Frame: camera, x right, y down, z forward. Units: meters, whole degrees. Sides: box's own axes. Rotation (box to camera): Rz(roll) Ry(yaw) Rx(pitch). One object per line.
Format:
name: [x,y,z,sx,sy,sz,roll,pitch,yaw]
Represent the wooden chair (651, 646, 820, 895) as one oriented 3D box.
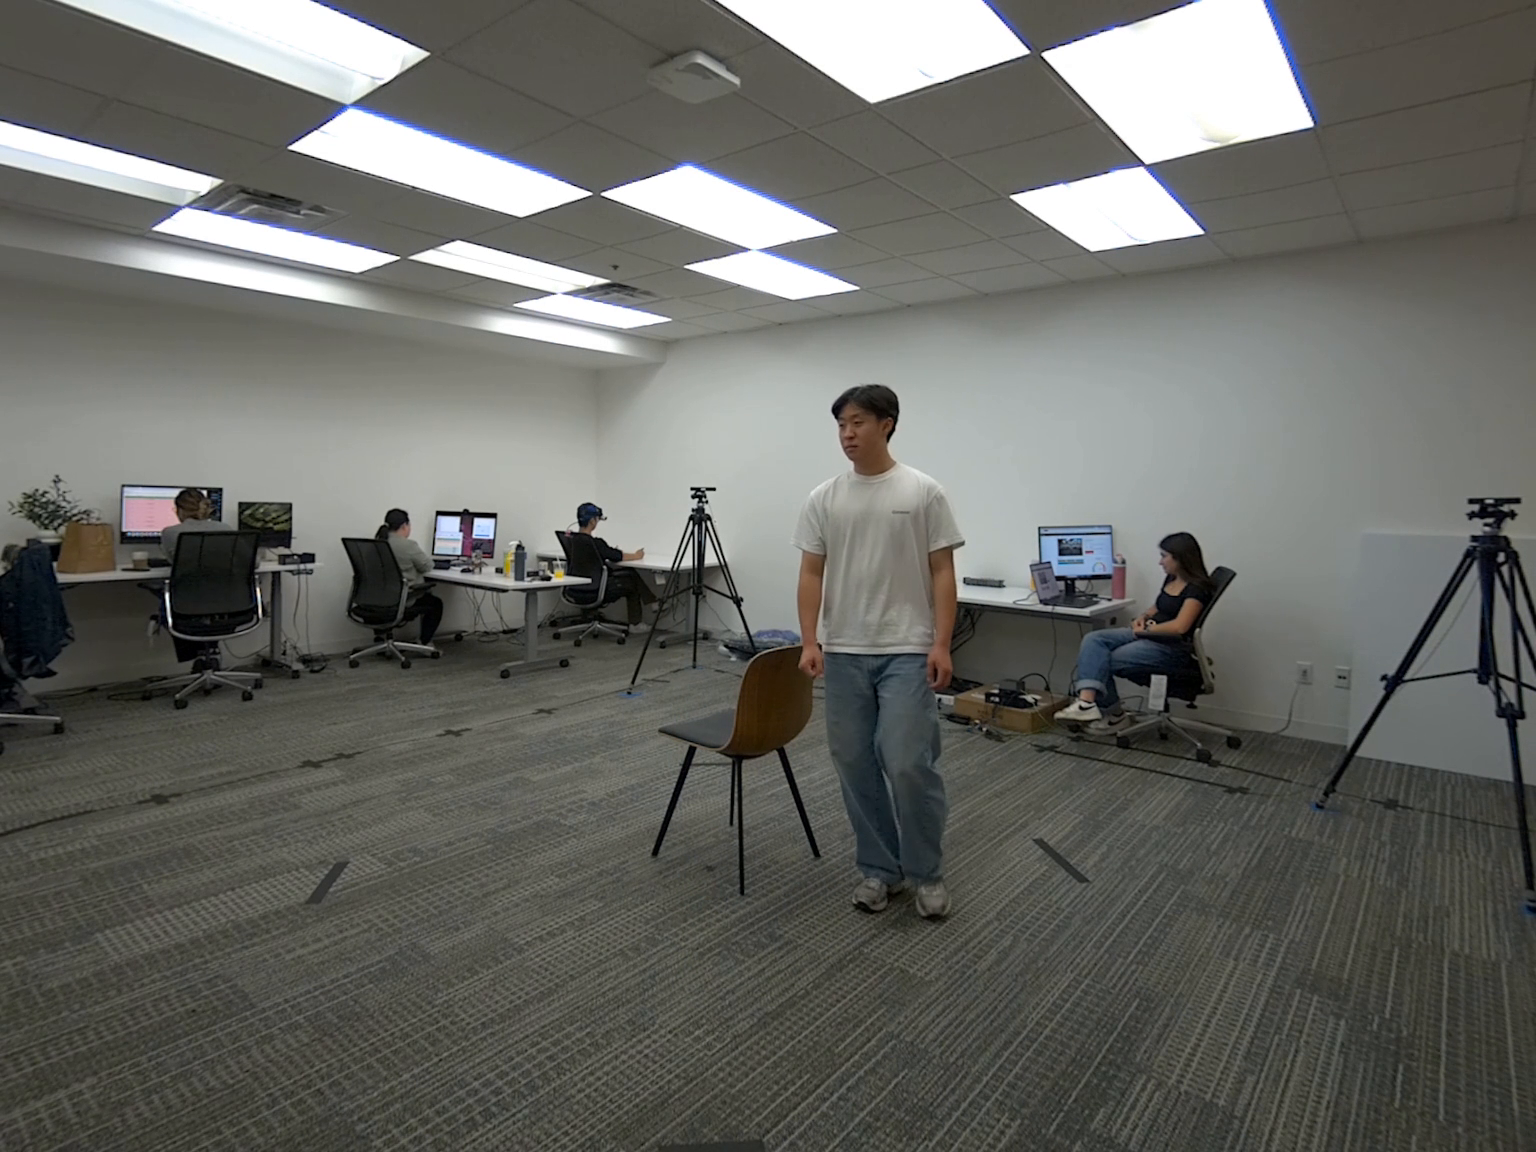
wooden chair: [-0.127,0.634,3.196,0.542,0.873,0.463,10,8,40]
